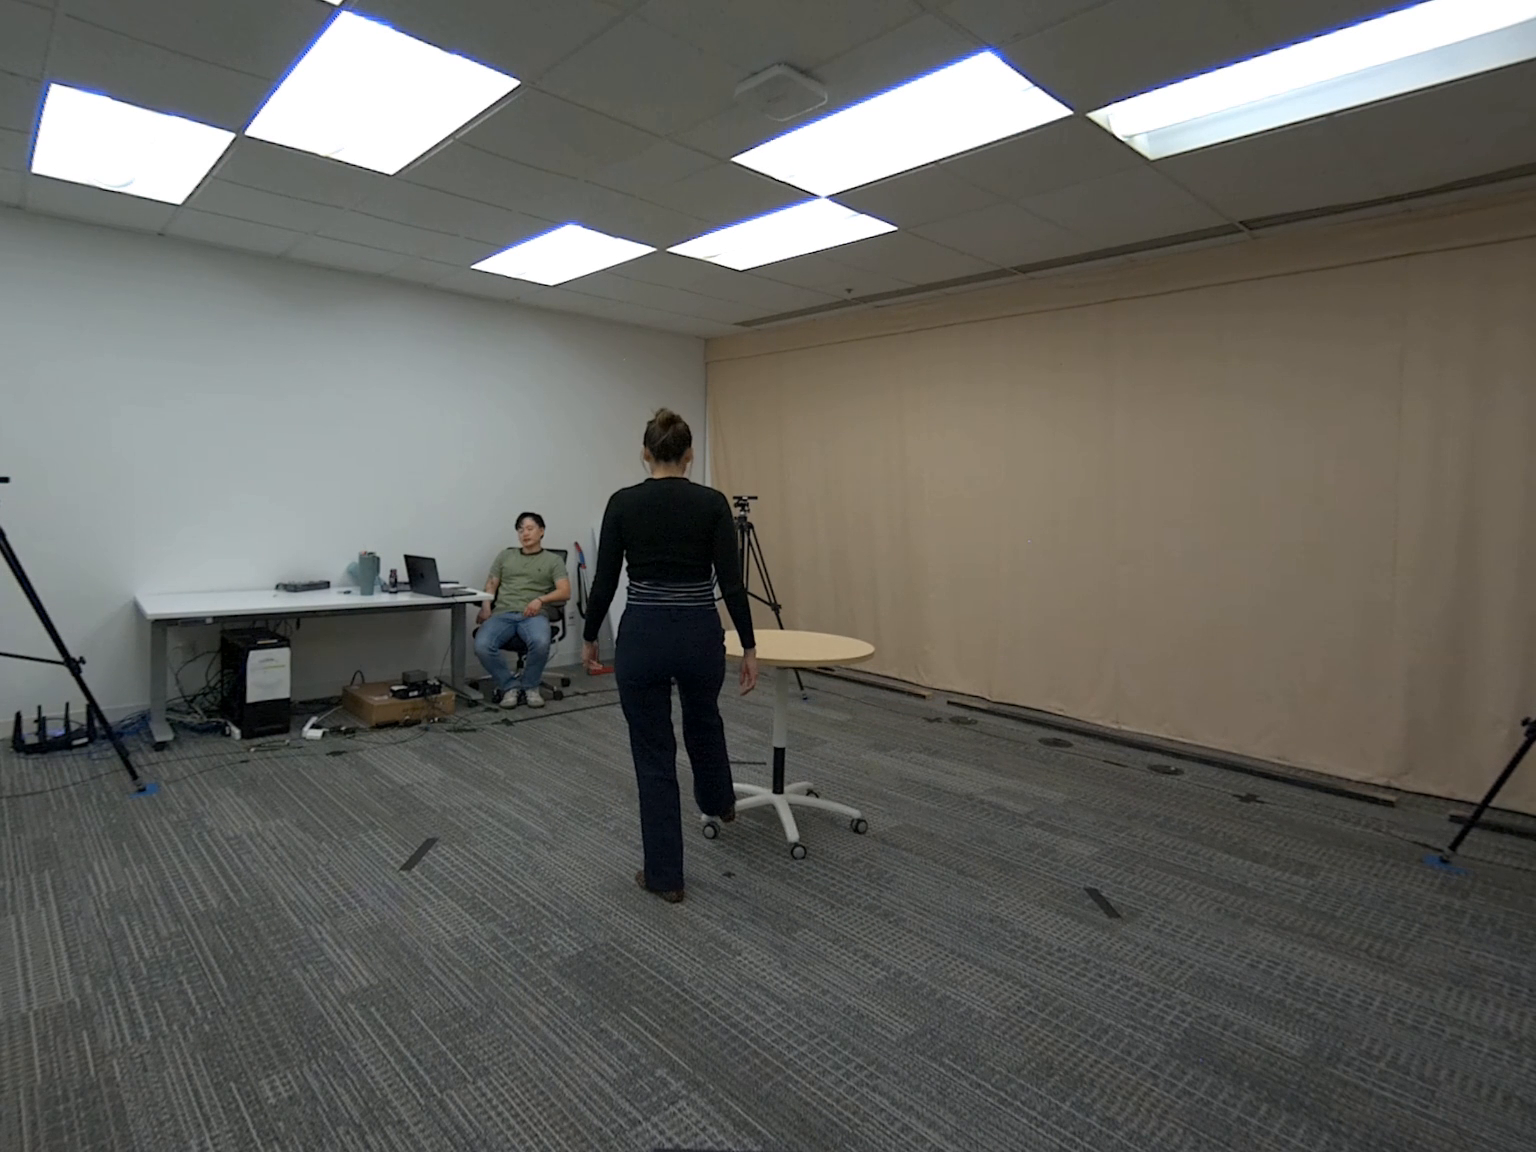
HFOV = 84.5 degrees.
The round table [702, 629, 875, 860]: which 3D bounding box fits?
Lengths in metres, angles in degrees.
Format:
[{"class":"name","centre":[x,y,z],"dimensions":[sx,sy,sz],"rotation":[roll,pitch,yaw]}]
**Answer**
[{"class":"round table","centre":[0.043,0.679,3.577],"dimensions":[0.763,0.792,0.766],"rotation":[2,3,-1]}]
